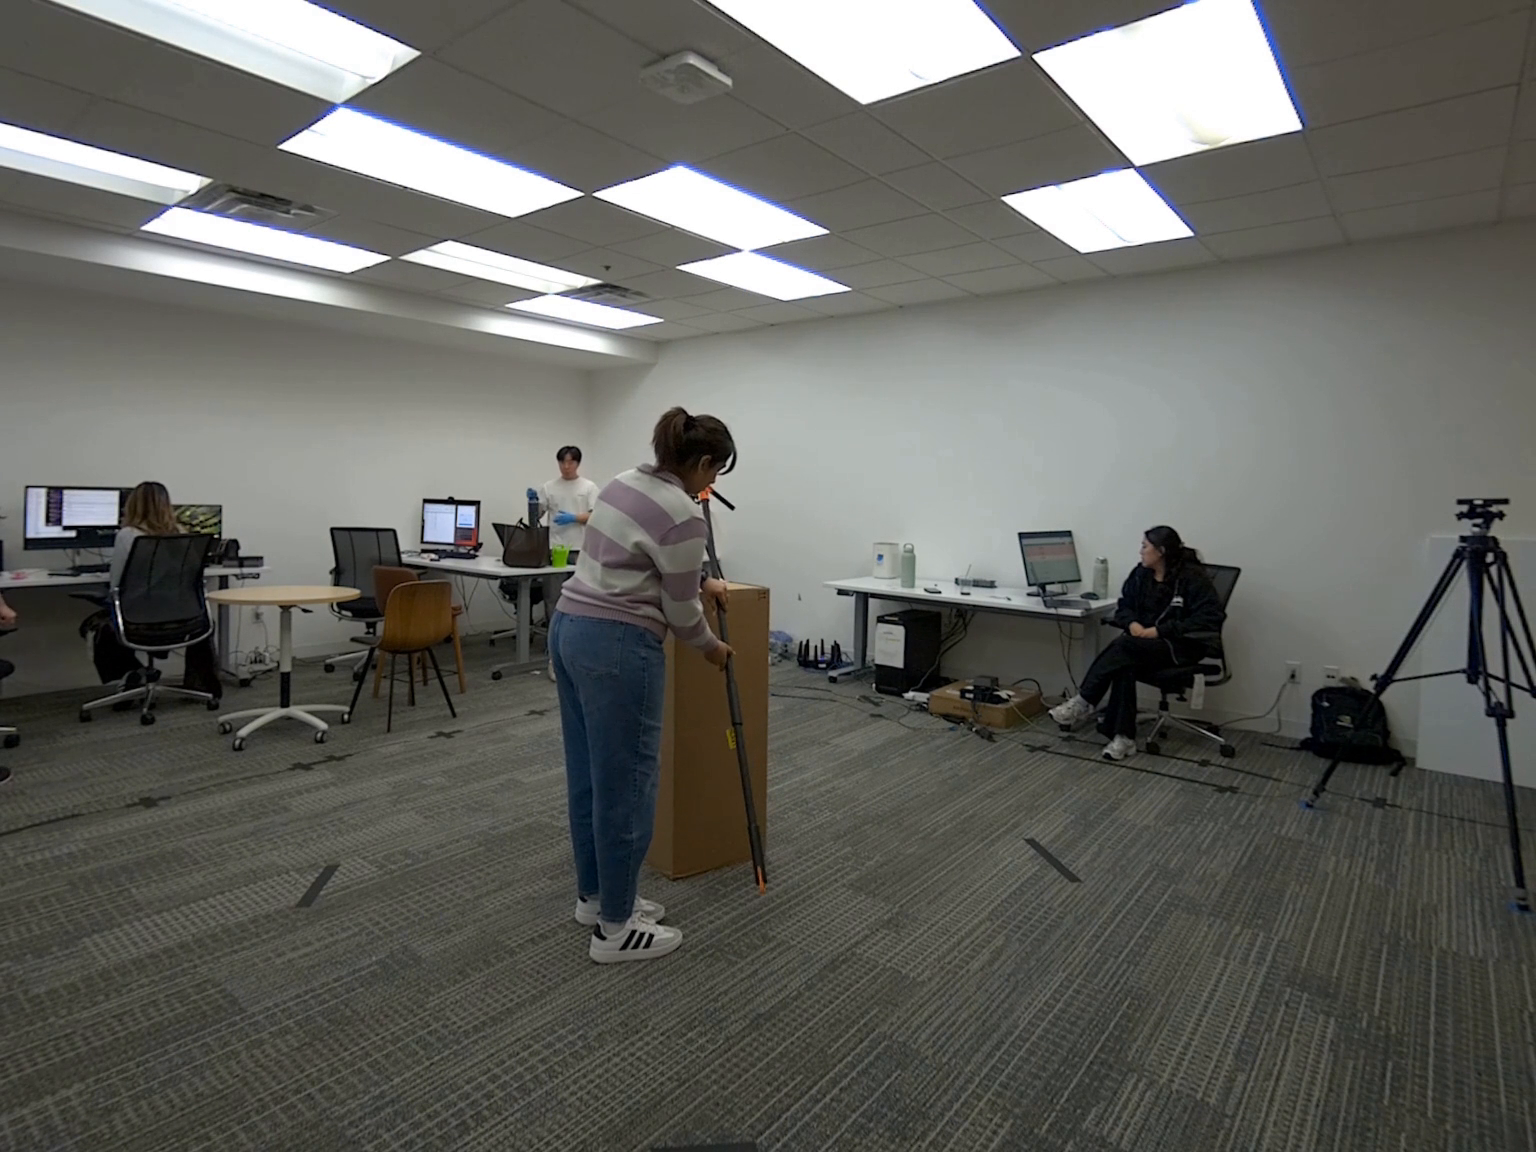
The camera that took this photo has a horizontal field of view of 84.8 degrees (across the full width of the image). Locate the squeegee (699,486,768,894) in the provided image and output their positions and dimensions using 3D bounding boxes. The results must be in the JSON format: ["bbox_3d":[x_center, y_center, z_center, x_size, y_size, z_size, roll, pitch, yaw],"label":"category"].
[{"bbox_3d":[-0.147,0.270,2.848,0.053,1.587,0.419,-29,-39,24],"label":"squeegee"}]
